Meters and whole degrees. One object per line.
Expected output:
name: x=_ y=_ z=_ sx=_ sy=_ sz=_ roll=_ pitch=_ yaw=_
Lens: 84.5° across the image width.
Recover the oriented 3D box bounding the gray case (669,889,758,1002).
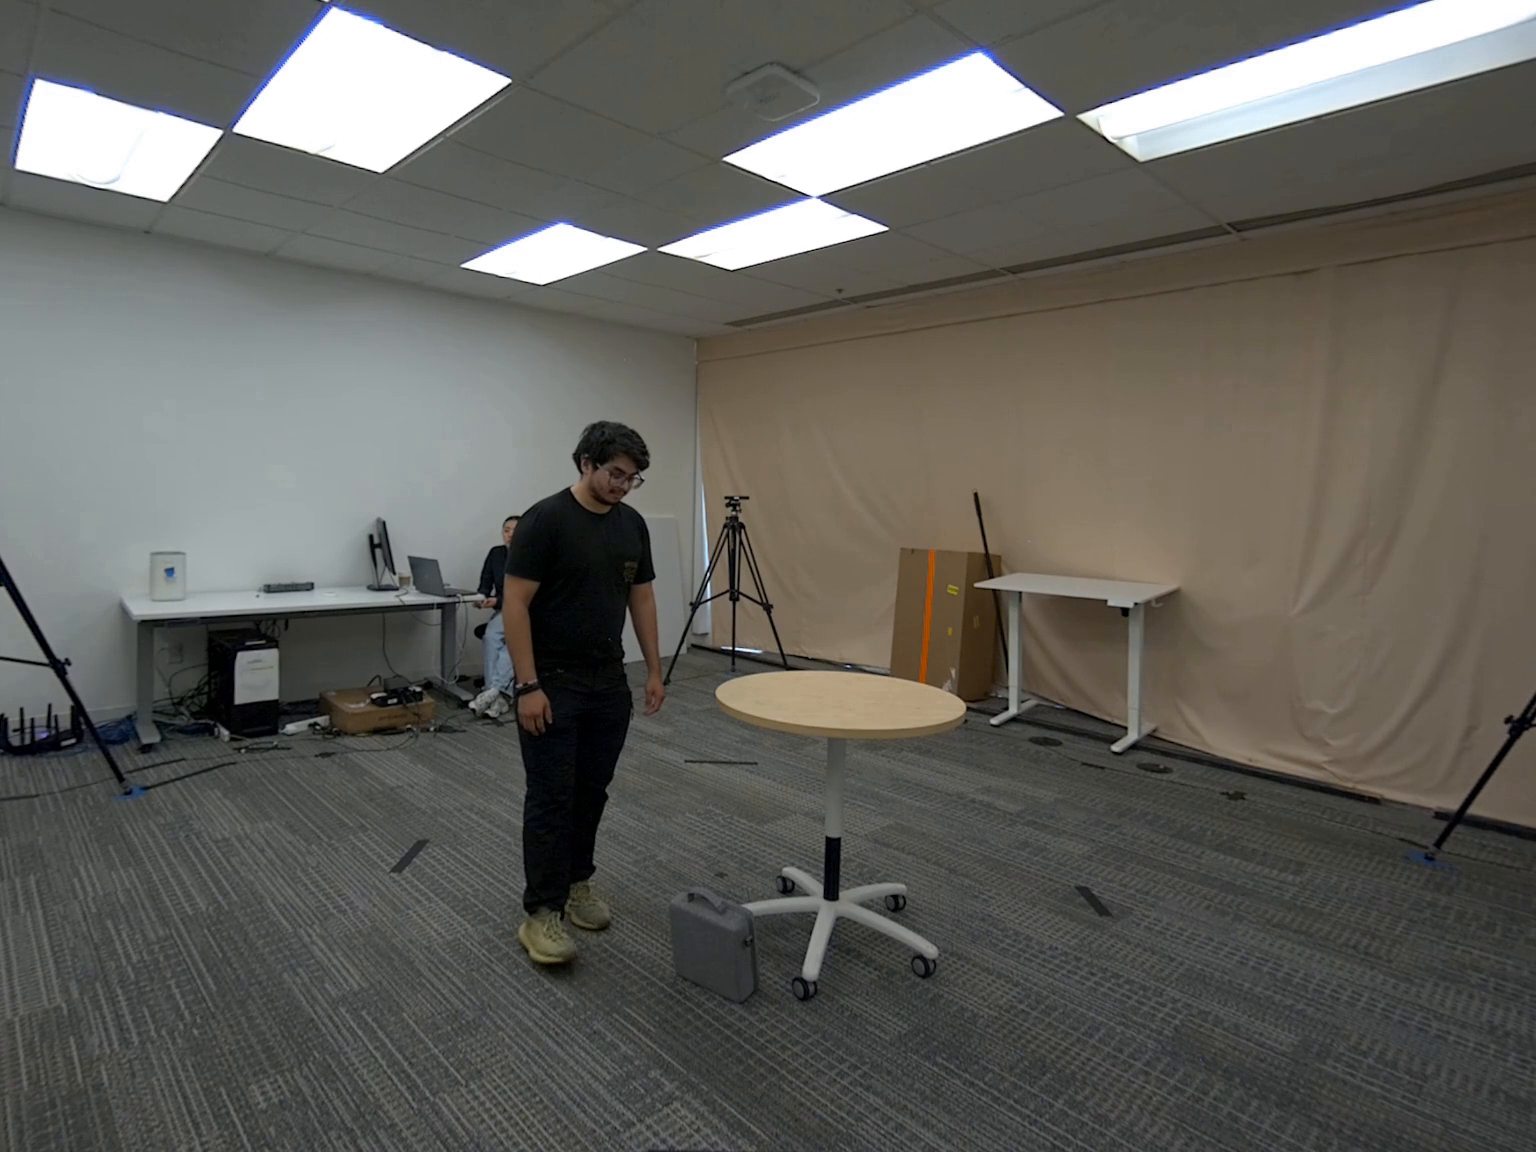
gray case: x=-0.158 y=1.043 z=2.378 sx=0.263 sy=0.258 sz=0.102 roll=4 pitch=13 yaw=37
